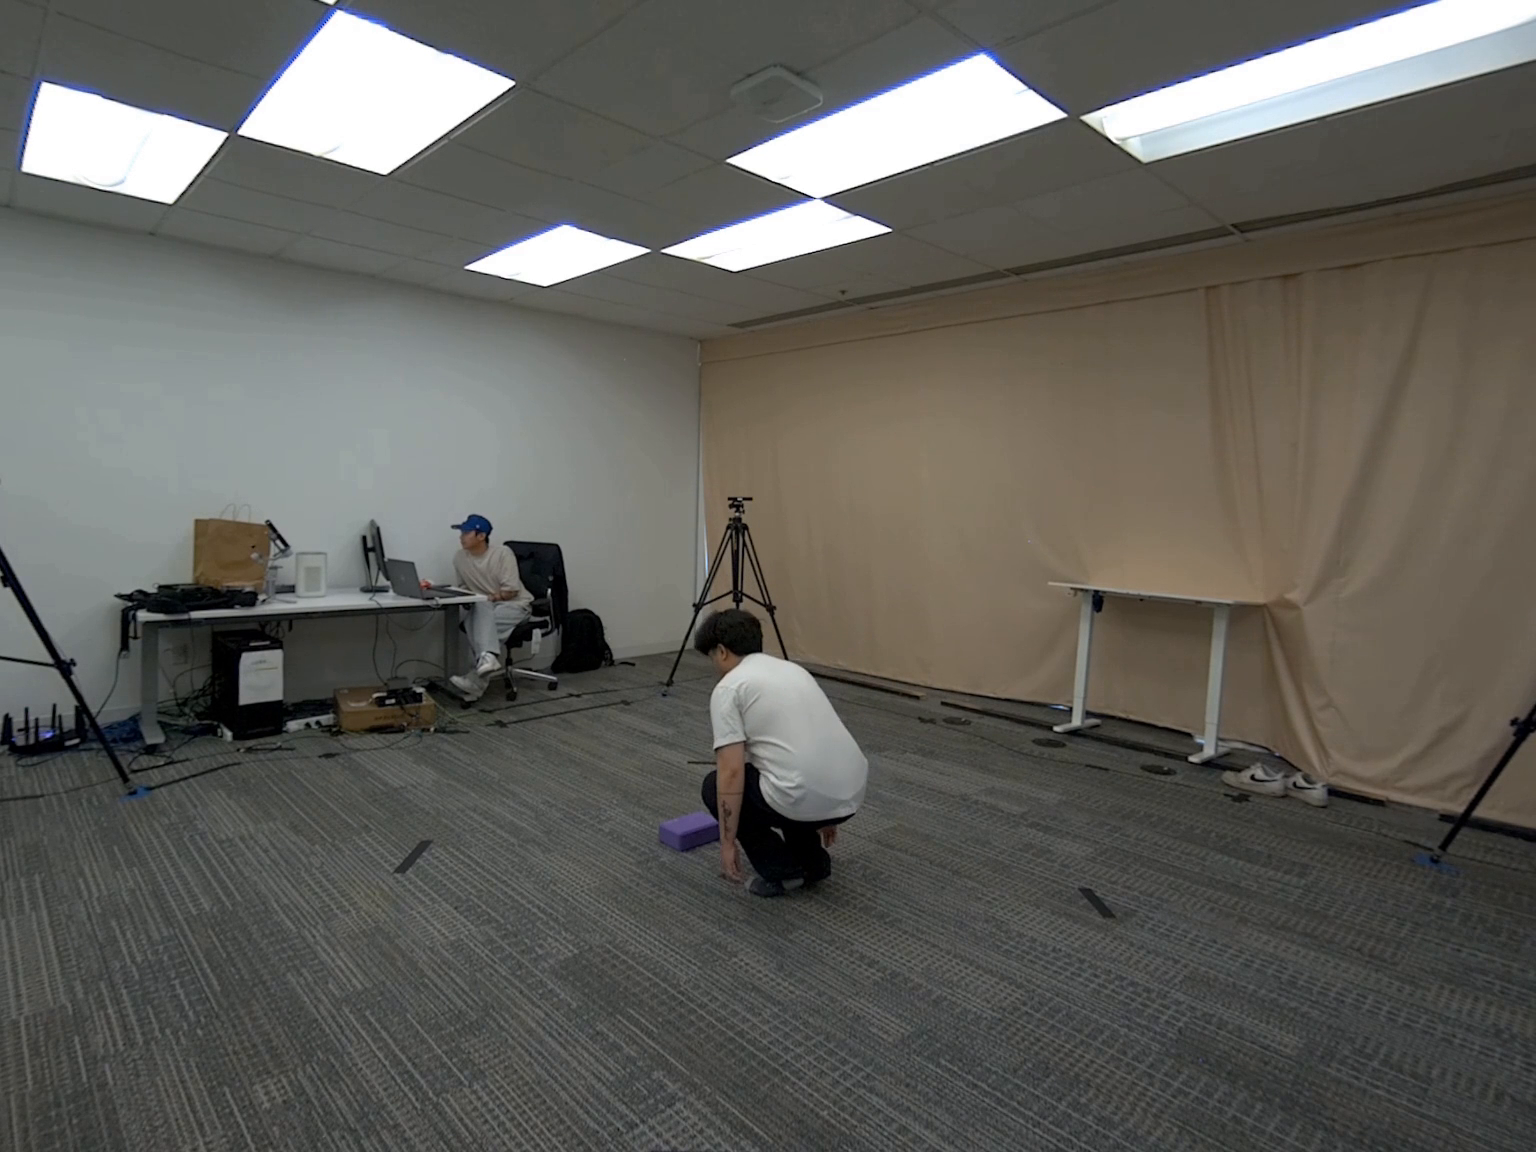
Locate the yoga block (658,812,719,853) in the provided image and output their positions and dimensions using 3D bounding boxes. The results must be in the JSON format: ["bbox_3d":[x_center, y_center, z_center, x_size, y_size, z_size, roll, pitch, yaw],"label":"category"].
[{"bbox_3d":[-0.319,1.034,3.422,0.224,0.076,0.153,-3,6,-45],"label":"yoga block"}]
